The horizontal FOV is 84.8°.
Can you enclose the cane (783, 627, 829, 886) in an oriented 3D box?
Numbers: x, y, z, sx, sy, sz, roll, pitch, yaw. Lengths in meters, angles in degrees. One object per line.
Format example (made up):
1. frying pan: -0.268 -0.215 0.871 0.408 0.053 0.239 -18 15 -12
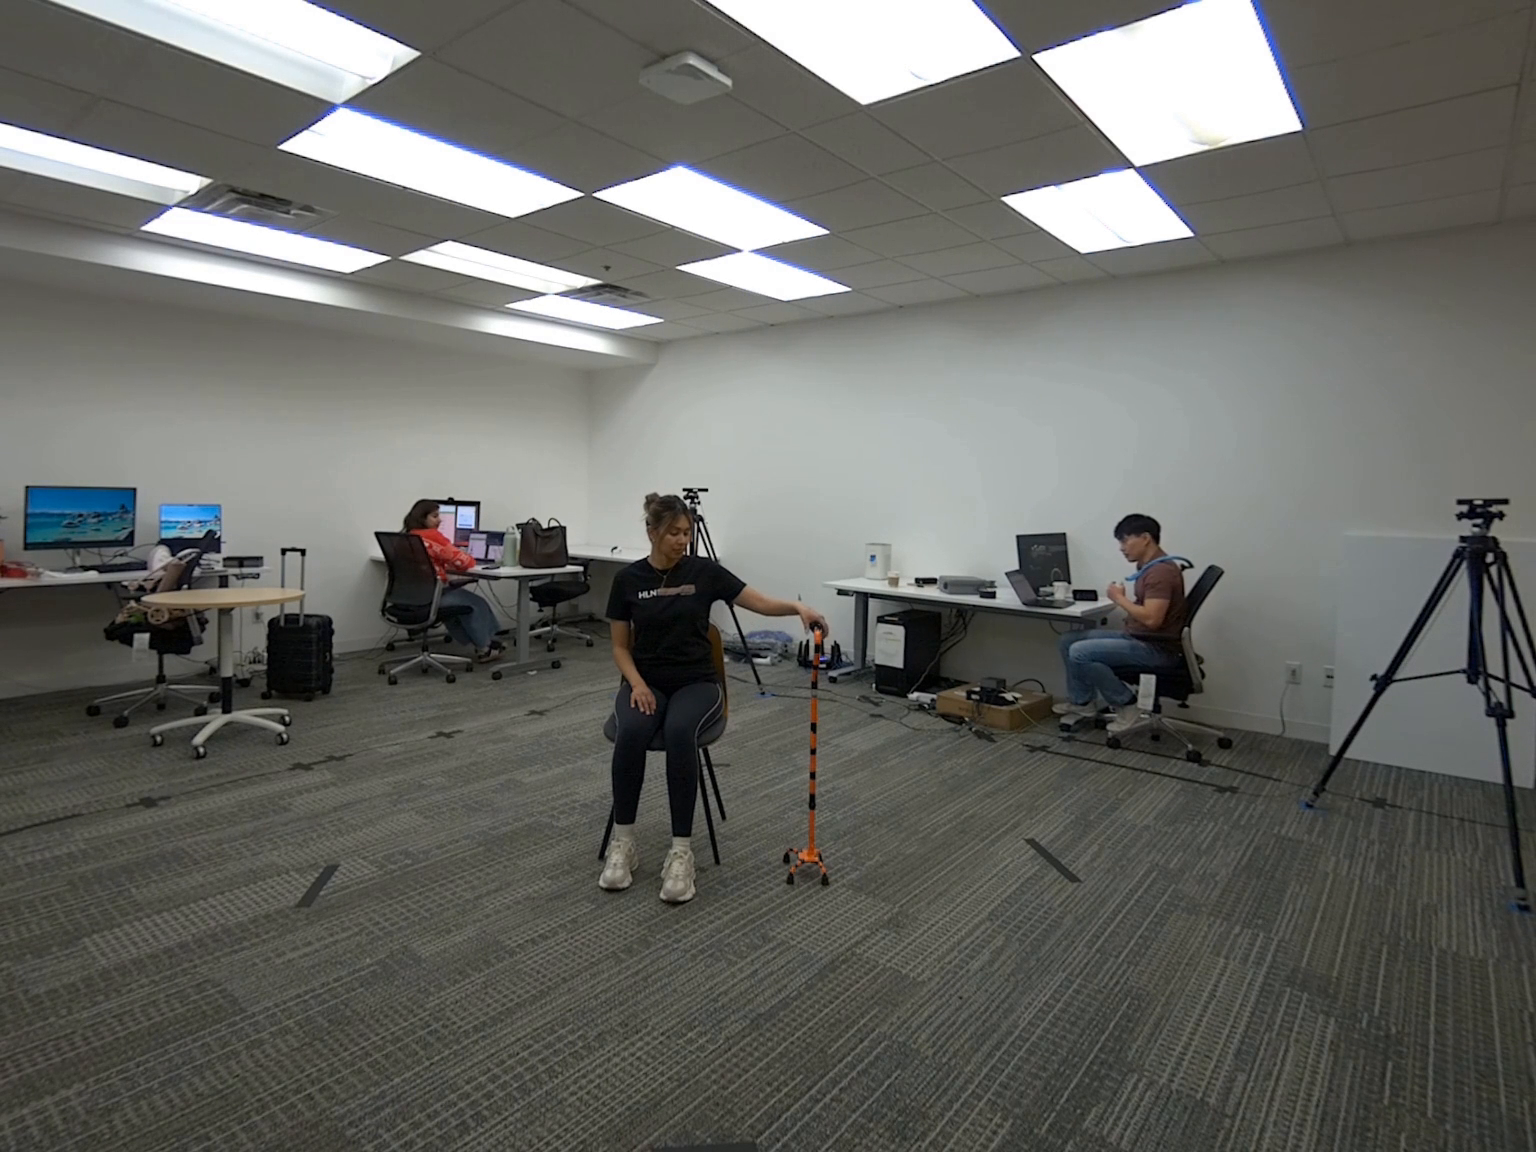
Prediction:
1. cane: 0.145 0.627 3.077 0.151 0.905 0.207 1 3 -3
